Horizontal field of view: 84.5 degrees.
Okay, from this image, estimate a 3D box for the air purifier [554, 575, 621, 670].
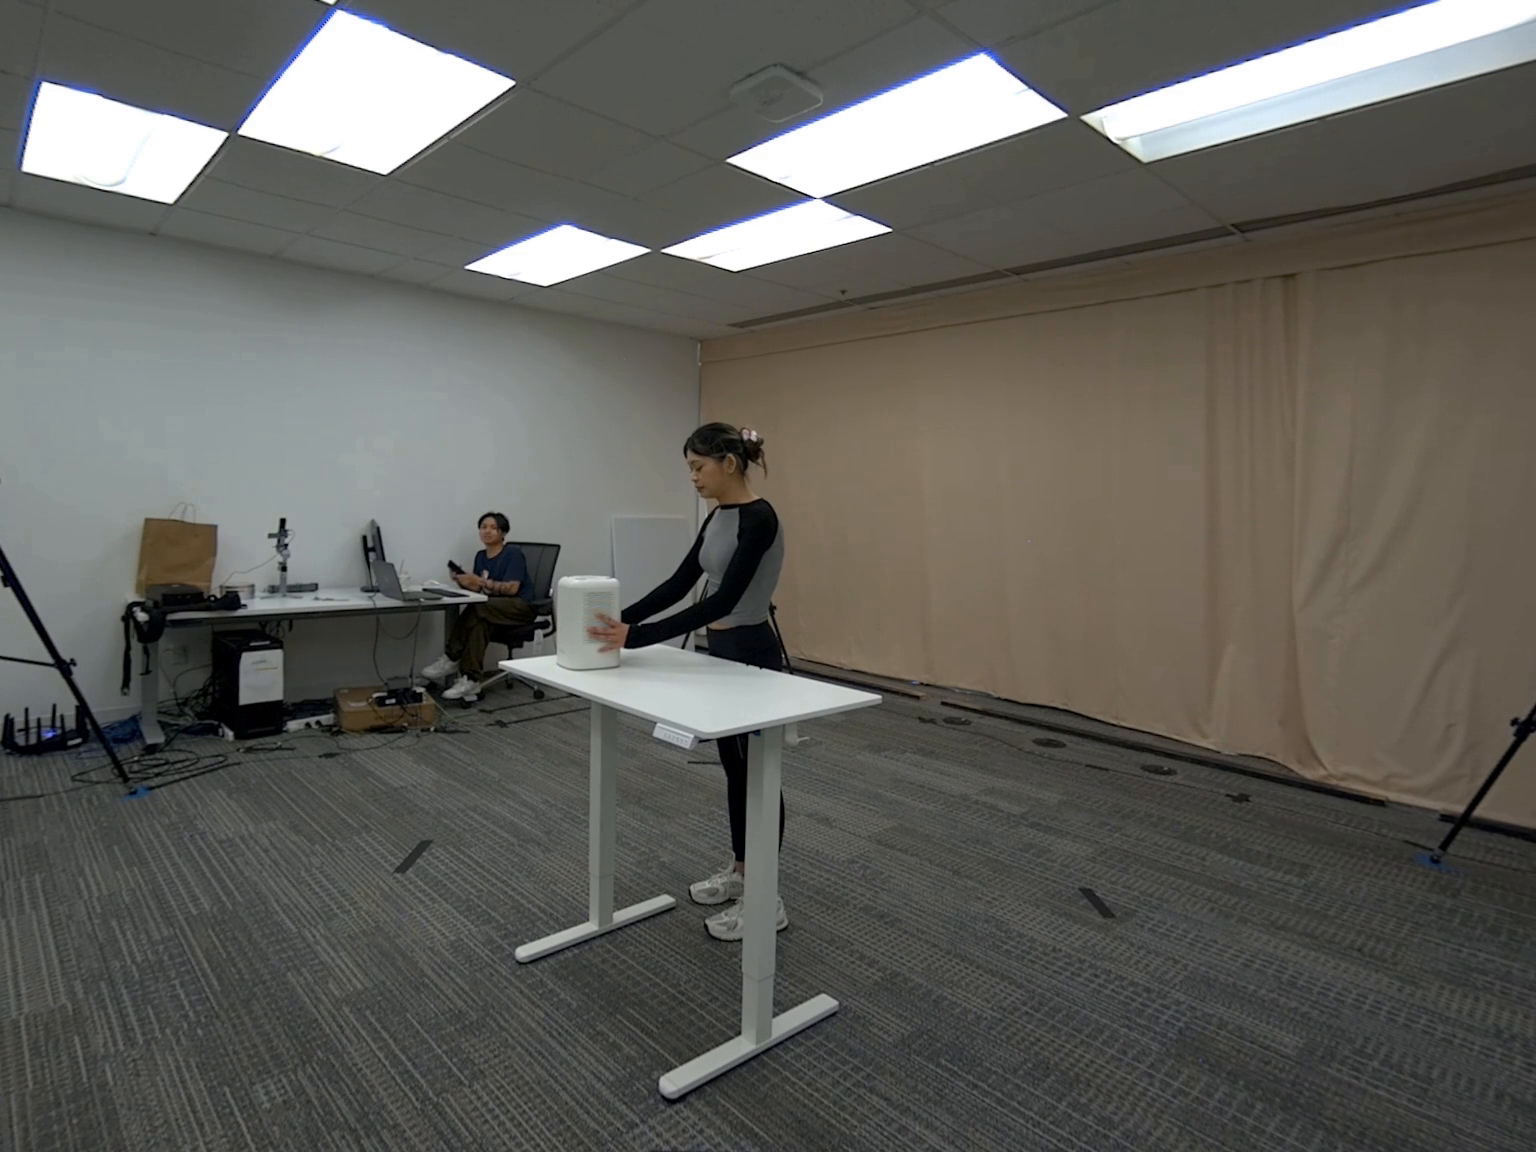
[{"bbox_3d":[-0.542,0.137,2.535,0.168,0.265,0.175,-1,2,-32],"label":"air purifier"}]
